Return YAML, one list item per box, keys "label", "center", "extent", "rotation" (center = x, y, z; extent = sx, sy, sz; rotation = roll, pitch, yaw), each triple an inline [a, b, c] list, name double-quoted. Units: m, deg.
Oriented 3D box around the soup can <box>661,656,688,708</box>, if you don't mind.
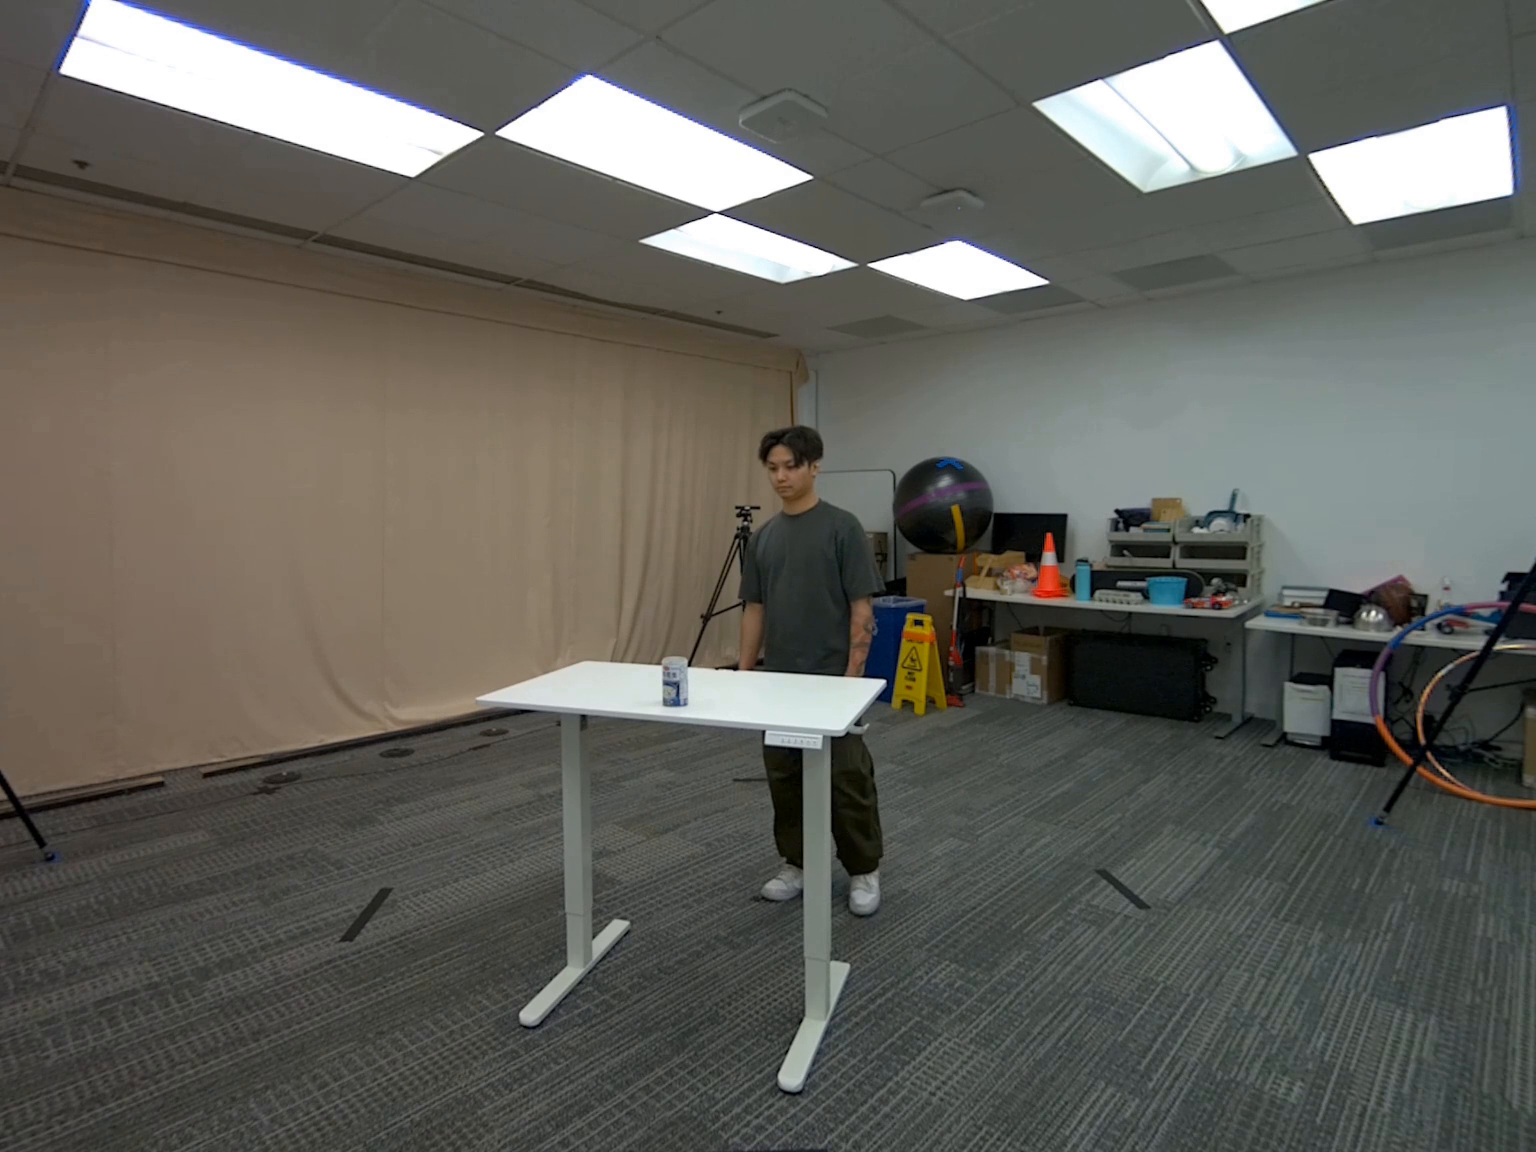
- label: "soup can"
  center: [-0.233, 0.273, 2.163]
  extent: [0.067, 0.121, 0.067]
  rotation: [0, 6, -2]
